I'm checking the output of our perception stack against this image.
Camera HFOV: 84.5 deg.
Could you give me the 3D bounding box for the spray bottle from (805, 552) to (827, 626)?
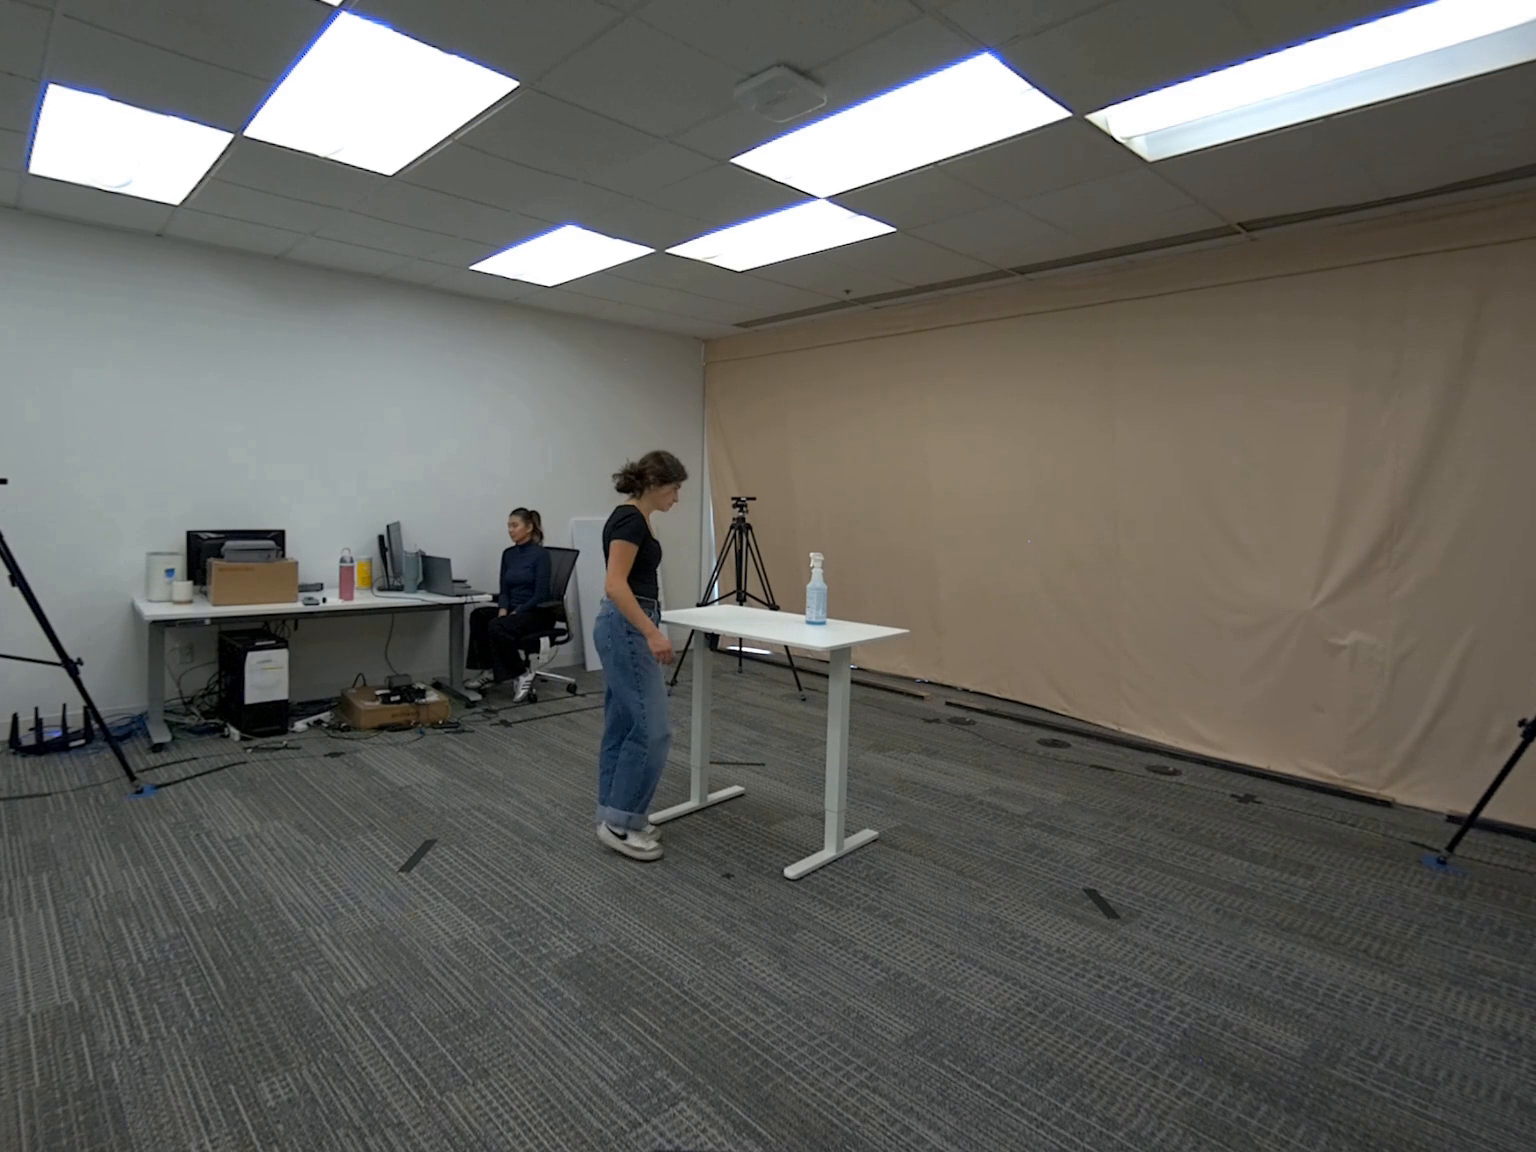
[{"bbox_3d":[0.192,0.050,3.501,0.088,0.296,0.089,-1,4,-26],"label":"spray bottle"}]
